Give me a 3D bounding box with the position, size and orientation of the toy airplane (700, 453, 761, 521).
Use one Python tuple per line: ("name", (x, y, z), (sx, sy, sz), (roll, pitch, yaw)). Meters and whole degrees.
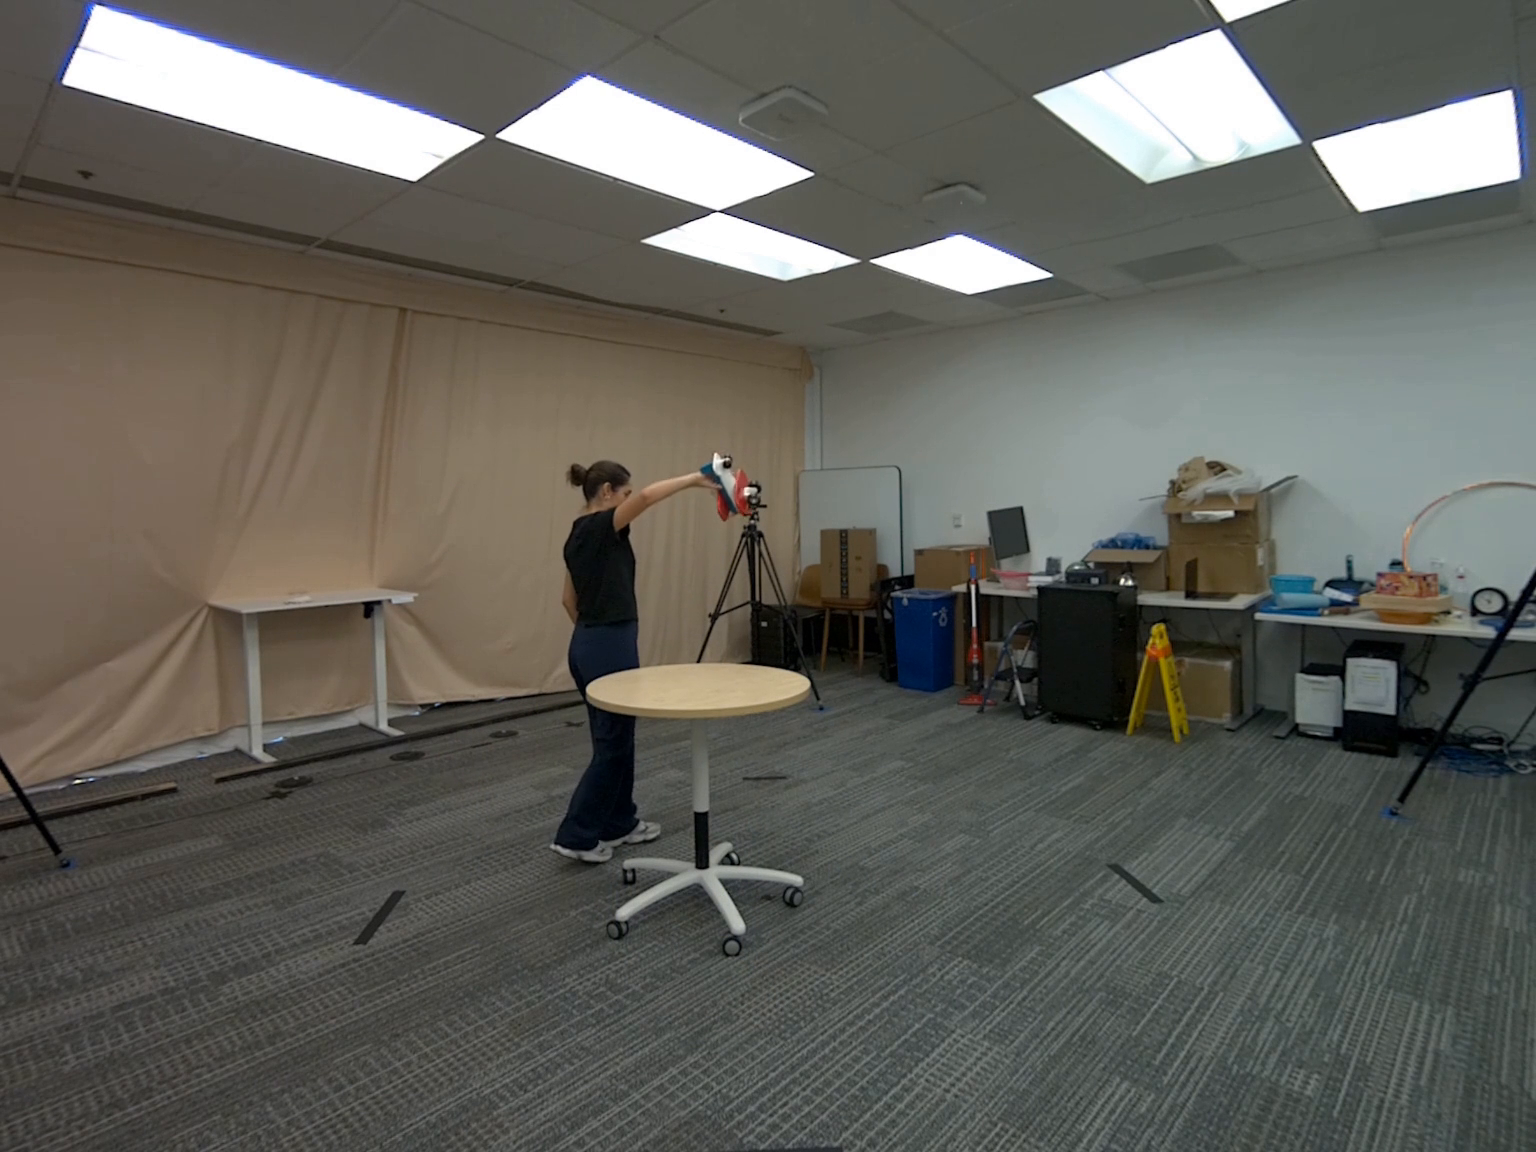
("toy airplane", (-0.129, -0.351, 3.276), (0.158, 0.259, 0.248), (-32, 3, 24))
